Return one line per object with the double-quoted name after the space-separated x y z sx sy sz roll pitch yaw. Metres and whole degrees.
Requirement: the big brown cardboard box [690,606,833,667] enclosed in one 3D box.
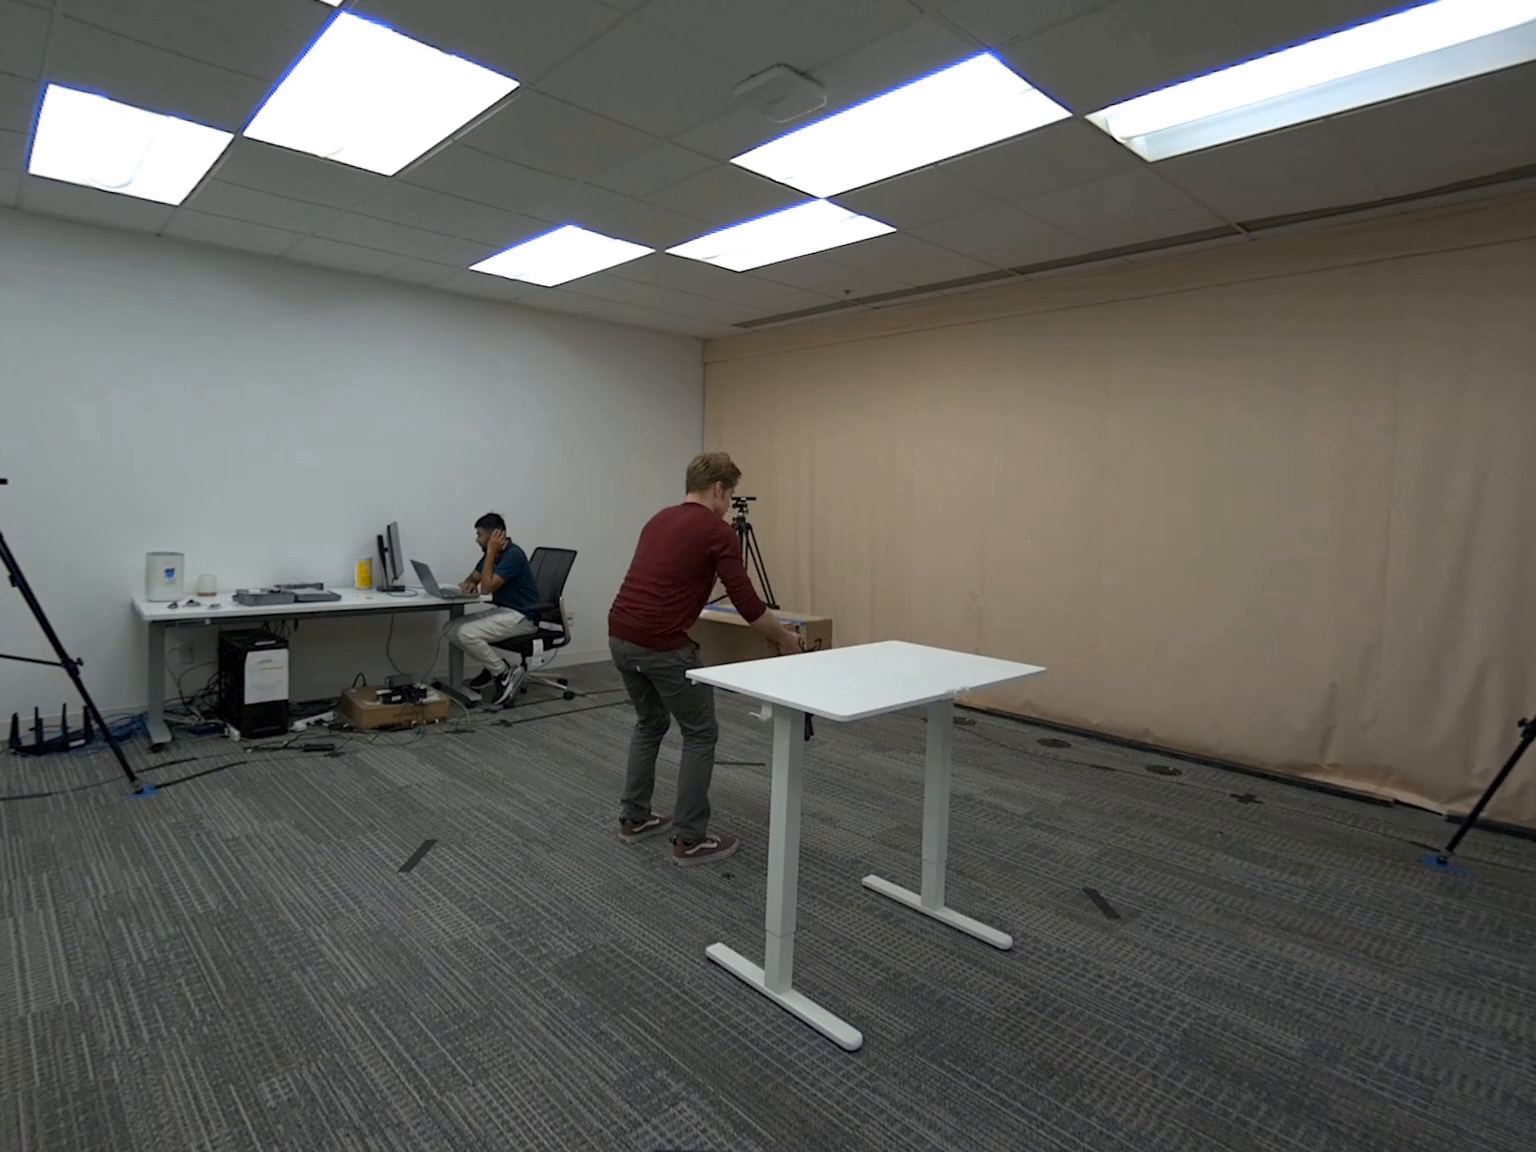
-0.087 0.280 3.626 0.604 0.232 0.408 7 8 41 "big brown cardboard box"
